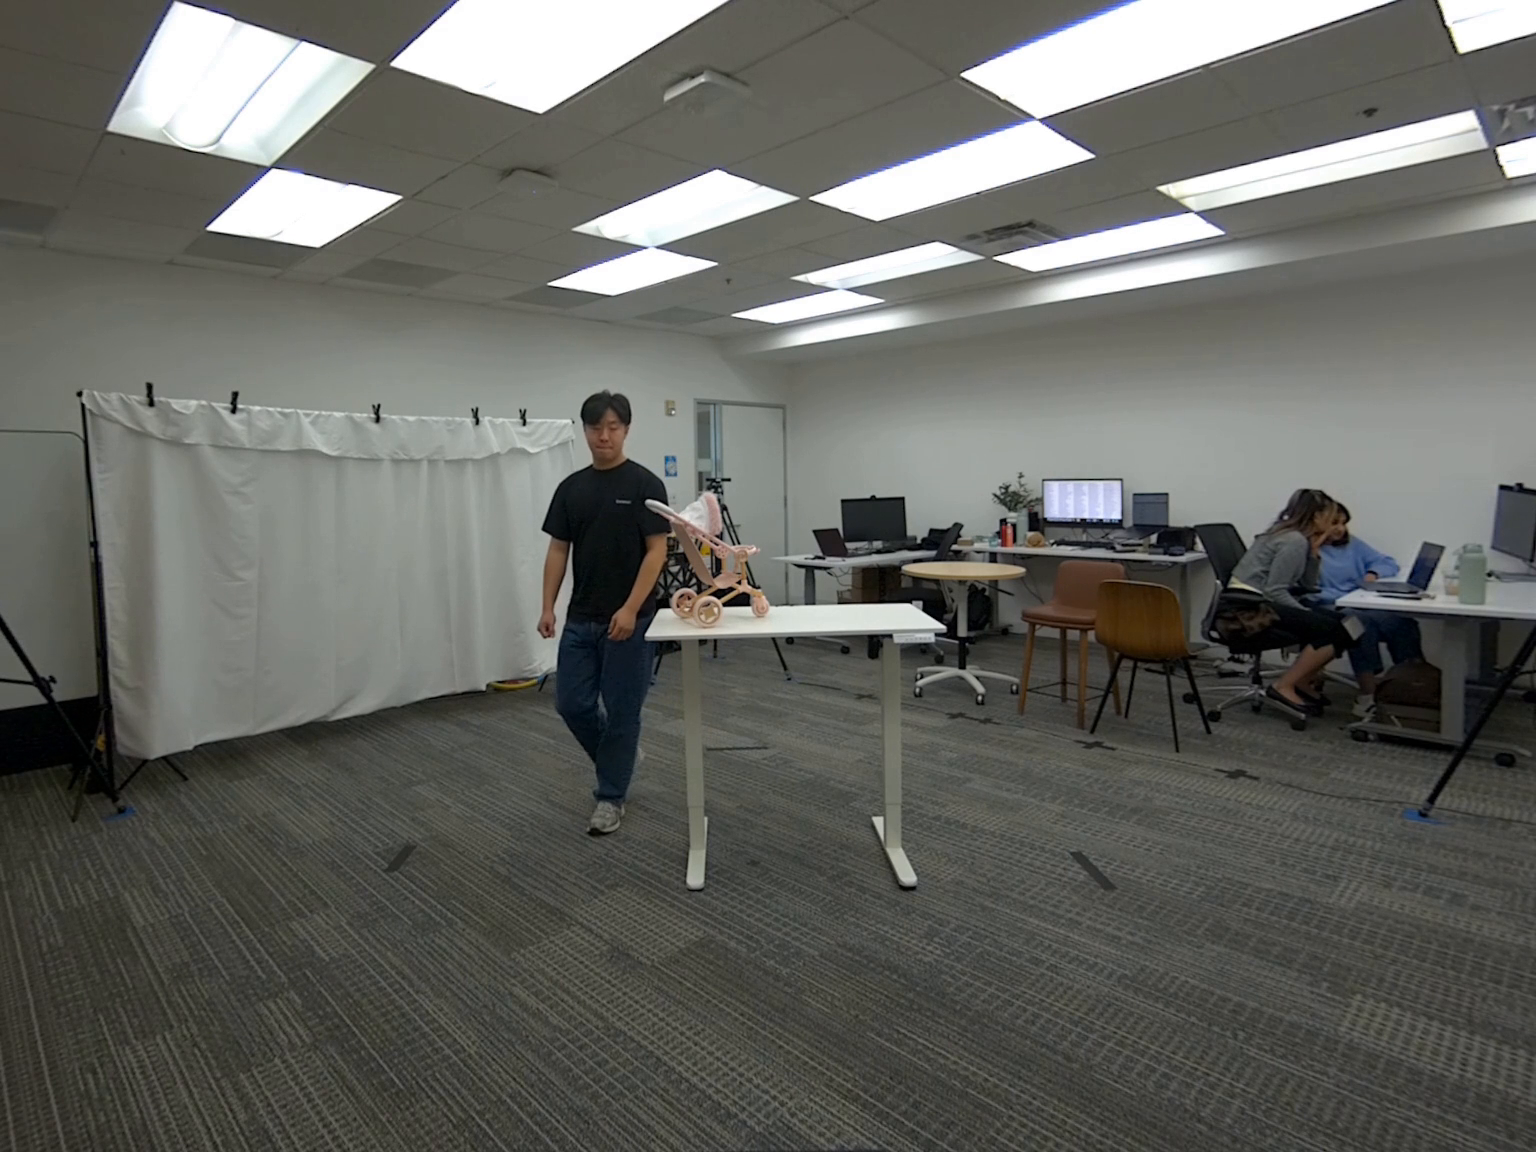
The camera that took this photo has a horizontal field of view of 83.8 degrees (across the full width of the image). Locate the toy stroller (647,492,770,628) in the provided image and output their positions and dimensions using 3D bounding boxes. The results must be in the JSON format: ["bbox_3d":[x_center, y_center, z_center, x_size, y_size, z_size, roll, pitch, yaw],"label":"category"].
[{"bbox_3d":[-0.196,-0.061,3.090,0.338,0.530,0.287,-17,9,-15],"label":"toy stroller"}]
